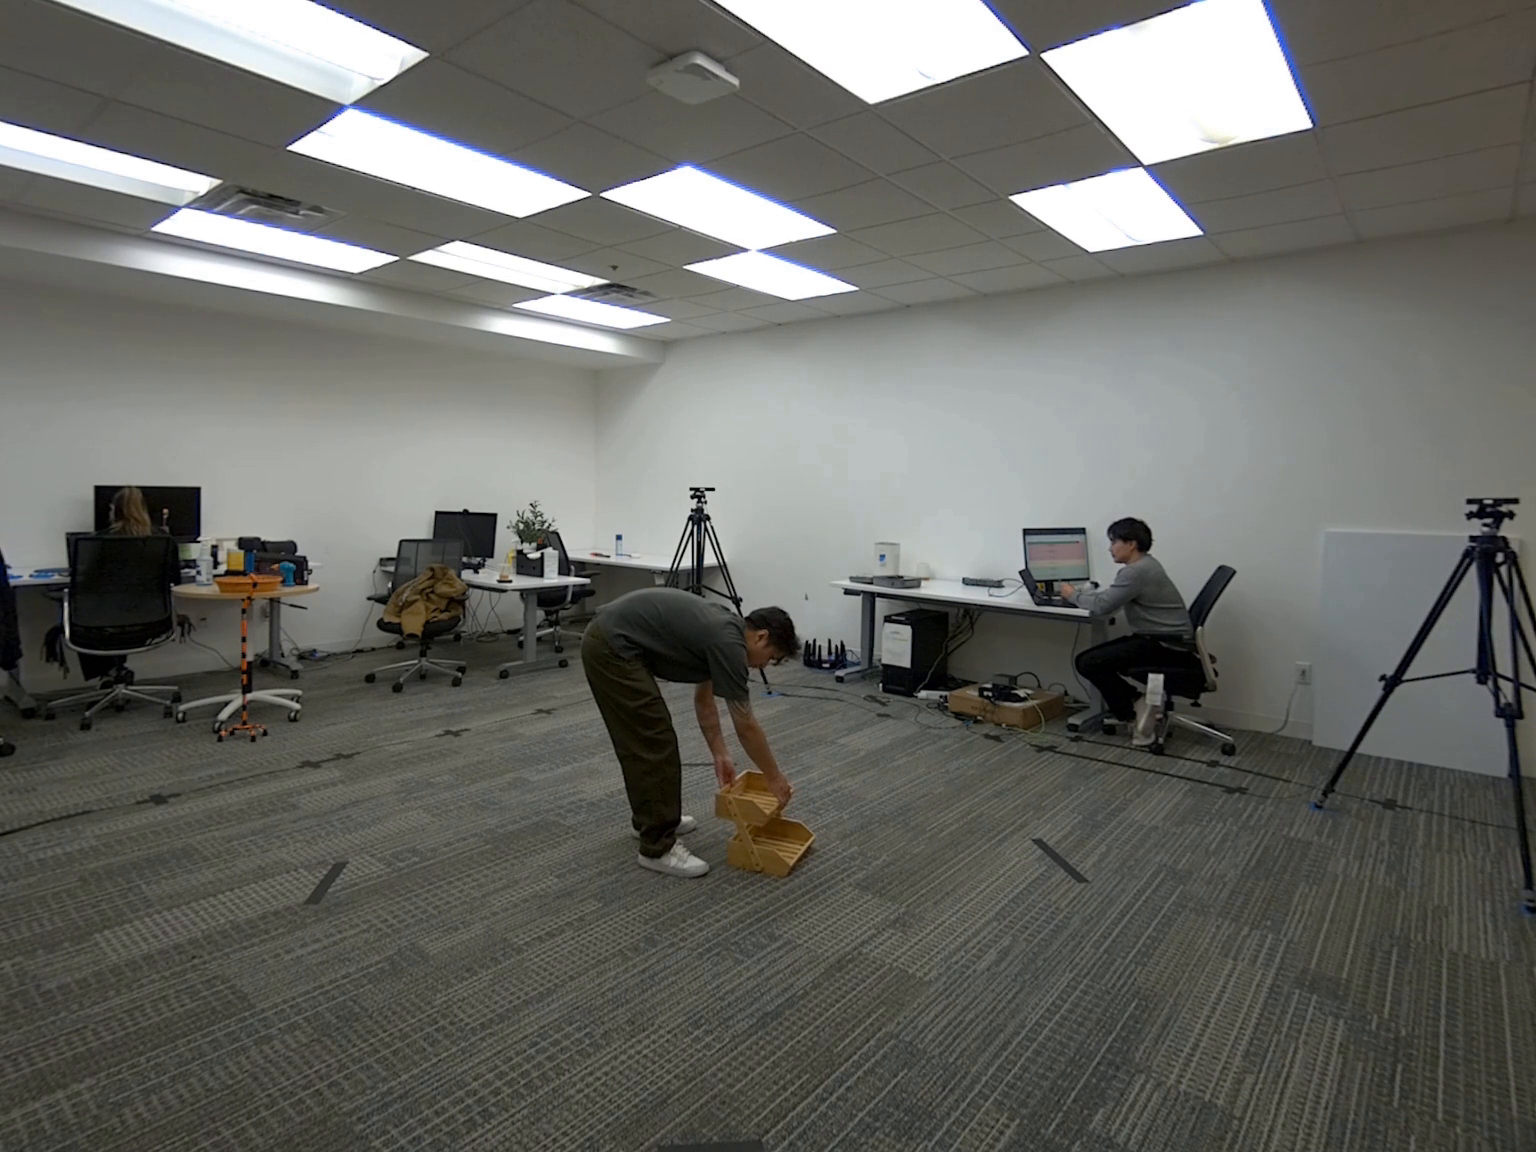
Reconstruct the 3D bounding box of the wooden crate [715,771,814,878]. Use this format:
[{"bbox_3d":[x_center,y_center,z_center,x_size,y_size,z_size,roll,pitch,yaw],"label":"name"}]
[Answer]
[{"bbox_3d":[-0.006,0.929,3.231,0.309,0.272,0.318,3,5,22],"label":"wooden crate"}]
